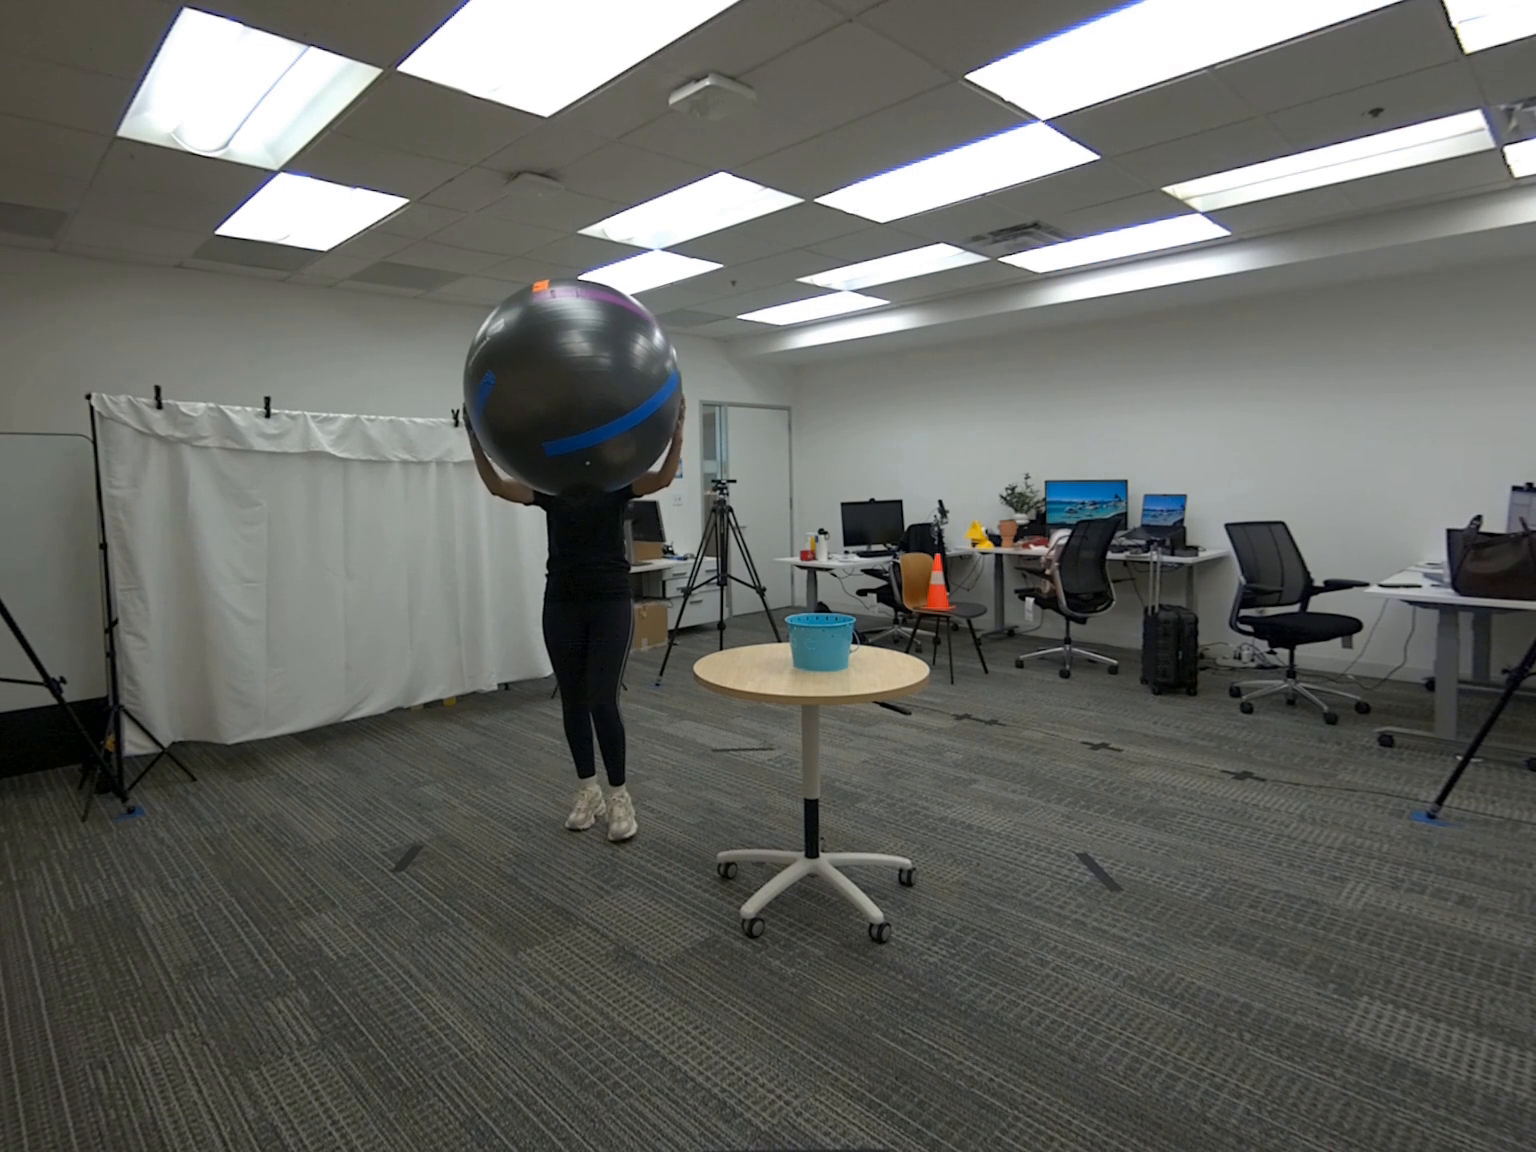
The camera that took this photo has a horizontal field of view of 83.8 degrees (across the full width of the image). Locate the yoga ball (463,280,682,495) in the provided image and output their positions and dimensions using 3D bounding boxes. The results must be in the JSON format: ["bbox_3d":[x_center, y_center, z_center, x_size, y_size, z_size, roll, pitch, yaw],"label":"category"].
[{"bbox_3d":[-0.680,-0.649,2.995,0.757,0.755,0.762,-1,5,-2],"label":"yoga ball"}]
